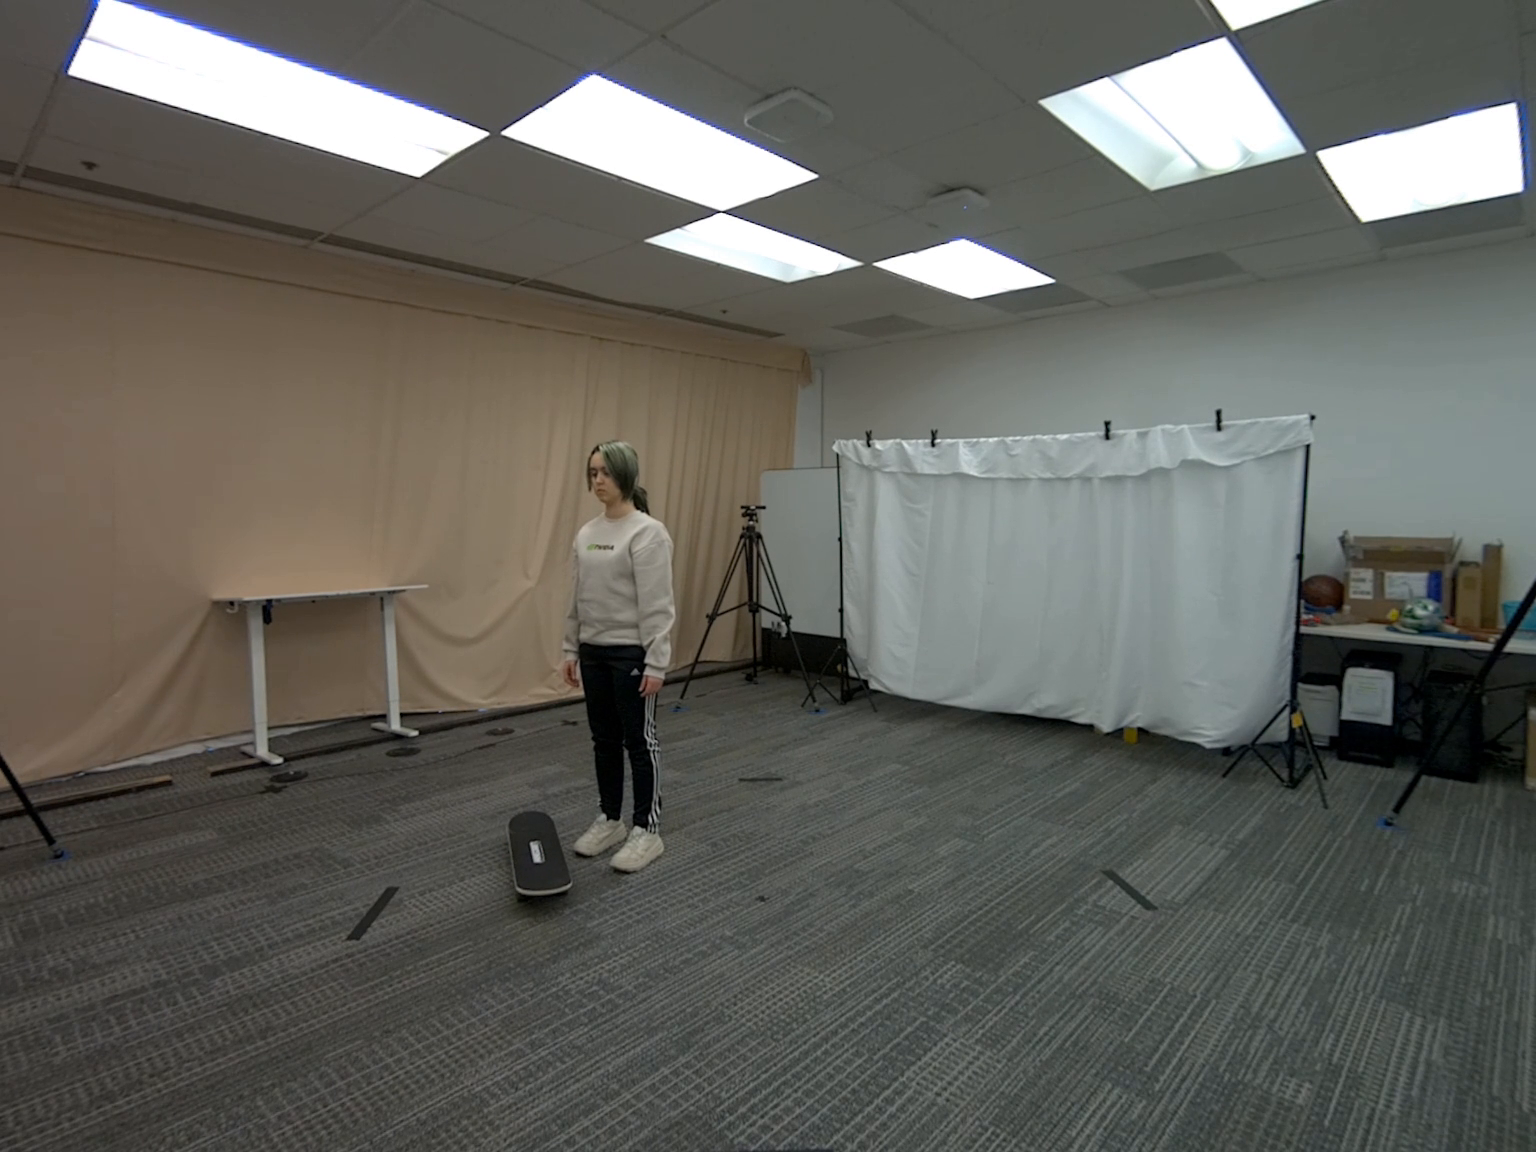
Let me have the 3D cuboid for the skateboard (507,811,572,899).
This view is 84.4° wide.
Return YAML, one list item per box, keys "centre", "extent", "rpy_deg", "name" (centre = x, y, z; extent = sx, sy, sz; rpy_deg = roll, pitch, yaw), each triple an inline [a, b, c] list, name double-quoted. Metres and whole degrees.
- centre: [-0.876, 1.076, 3.192]
  extent: [0.190, 0.110, 0.802]
  rpy_deg: [-2, 5, -20]
  name: "skateboard"
